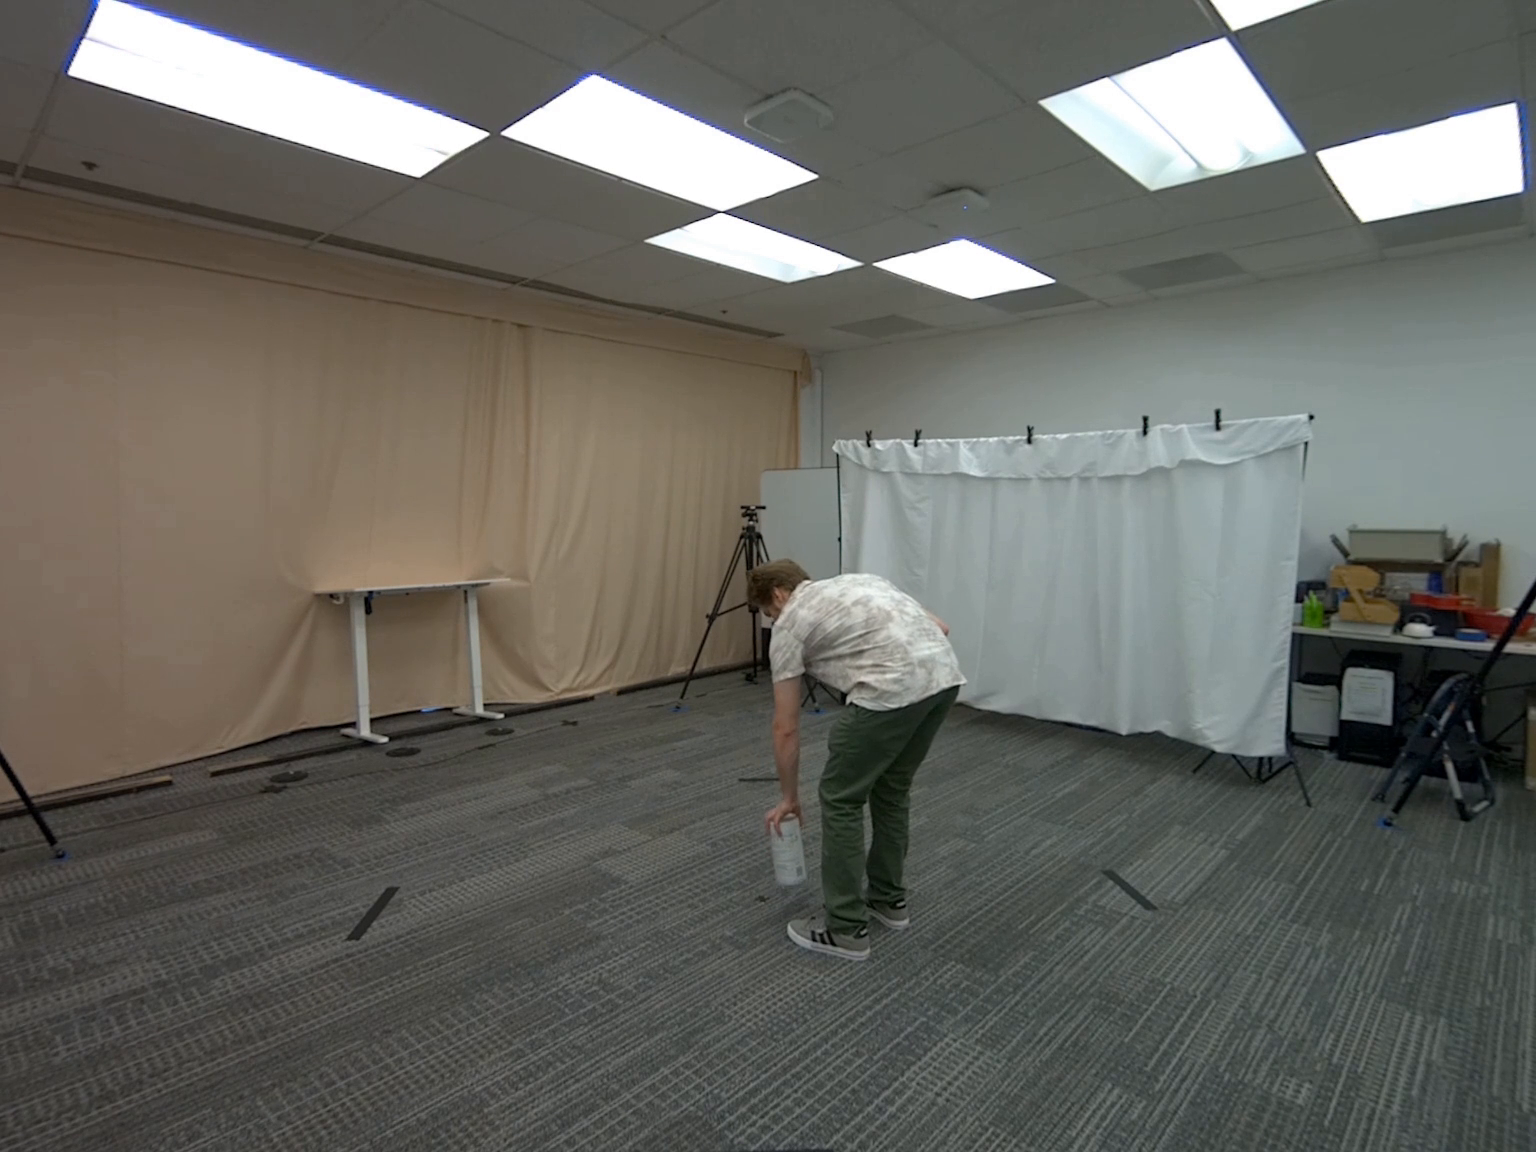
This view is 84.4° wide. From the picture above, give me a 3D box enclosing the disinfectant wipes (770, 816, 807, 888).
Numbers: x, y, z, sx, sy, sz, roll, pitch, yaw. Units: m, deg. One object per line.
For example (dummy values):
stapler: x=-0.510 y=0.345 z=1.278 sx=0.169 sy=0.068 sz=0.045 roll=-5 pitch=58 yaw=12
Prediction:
disinfectant wipes: x=0.074 y=0.946 z=2.906 sx=0.117 sy=0.217 sz=0.118 roll=-7 pitch=-1 yaw=-2
